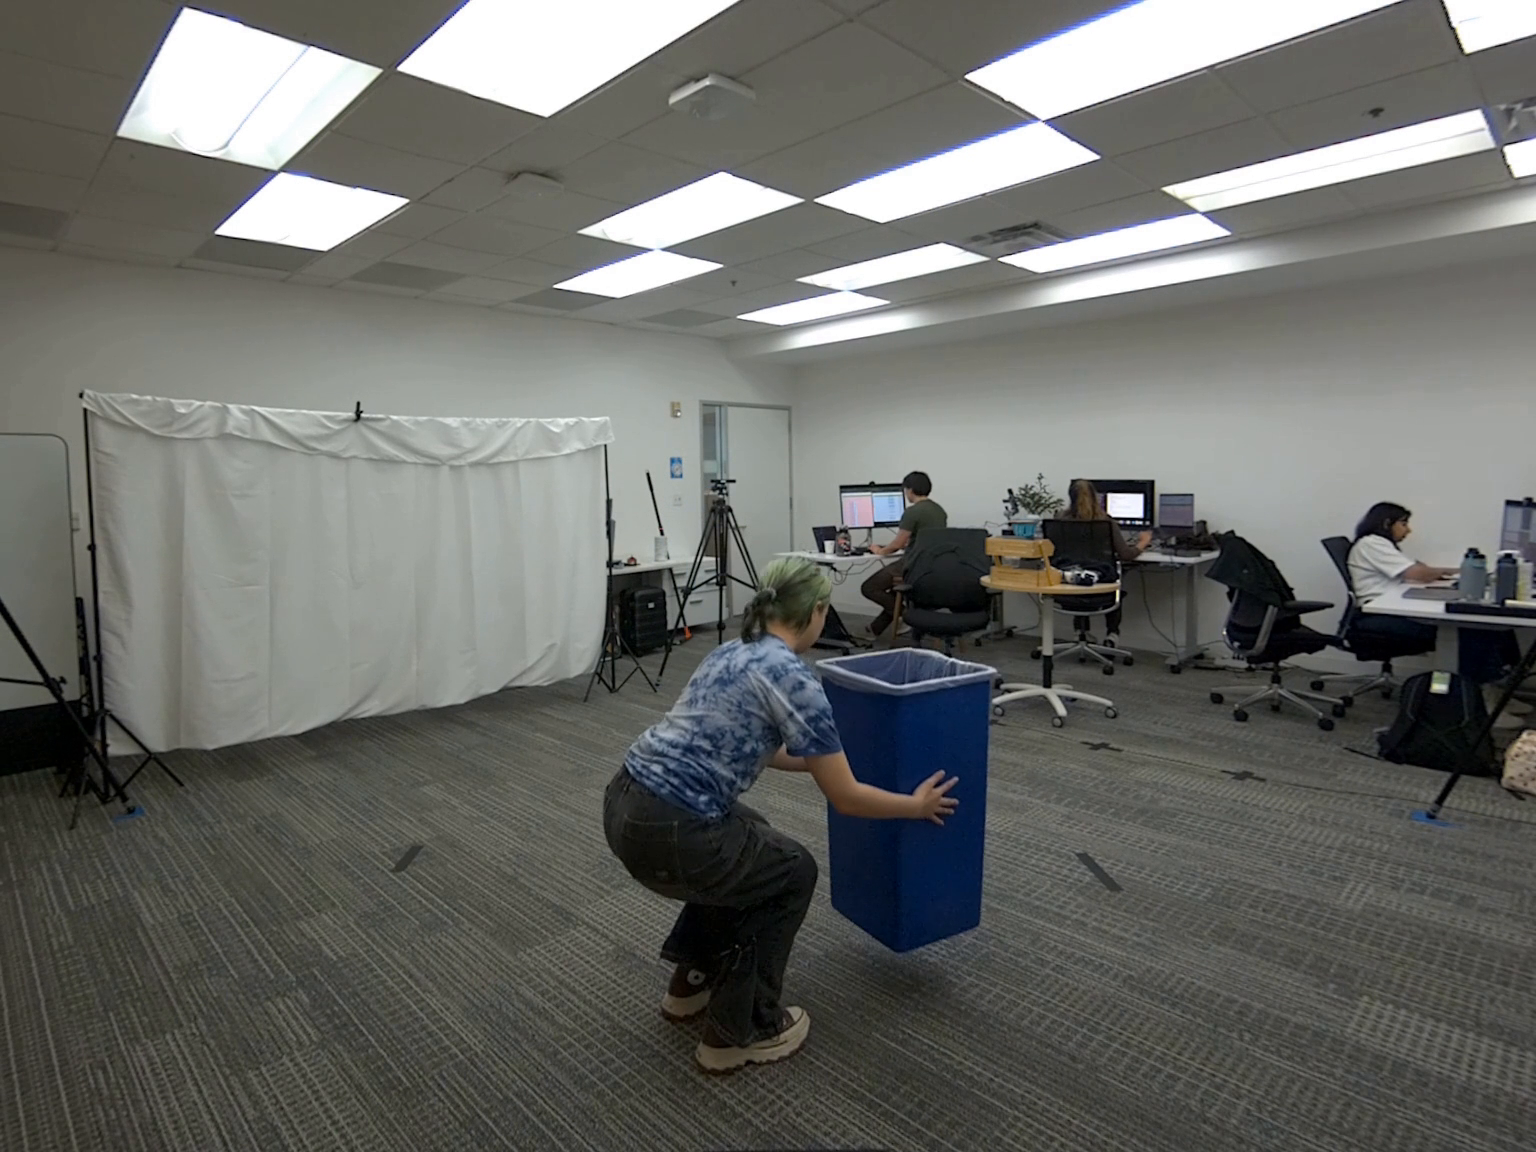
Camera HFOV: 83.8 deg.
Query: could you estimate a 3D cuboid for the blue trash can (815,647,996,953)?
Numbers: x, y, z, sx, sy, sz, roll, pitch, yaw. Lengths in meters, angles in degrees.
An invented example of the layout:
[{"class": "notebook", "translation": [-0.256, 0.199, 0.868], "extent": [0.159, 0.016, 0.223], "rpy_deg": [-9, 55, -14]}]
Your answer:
[{"class": "blue trash can", "translation": [0.385, 0.603, 2.376], "extent": [0.365, 0.711, 0.388], "rpy_deg": [-2, 4, -32]}]
